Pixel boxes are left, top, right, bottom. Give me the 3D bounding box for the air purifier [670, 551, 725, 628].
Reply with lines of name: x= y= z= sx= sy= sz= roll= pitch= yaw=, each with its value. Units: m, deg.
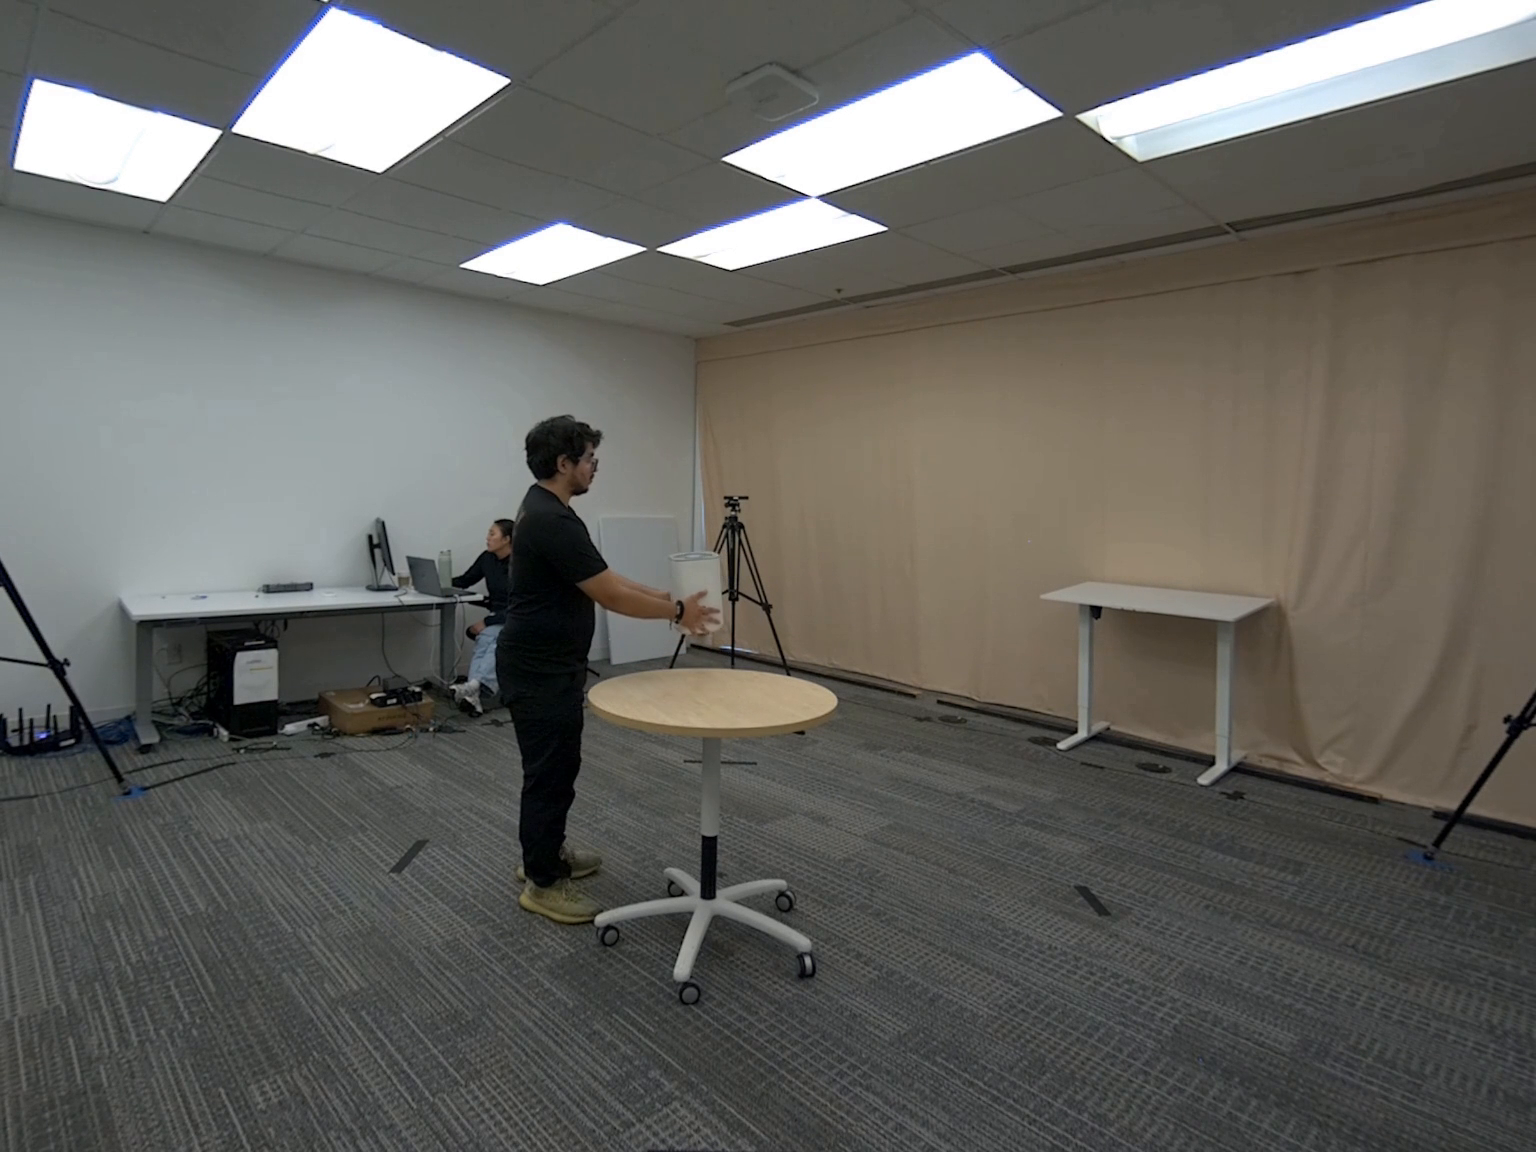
air purifier: x=-0.265 y=0.057 z=2.946 sx=0.170 sy=0.264 sz=0.174 roll=-6 pitch=8 yaw=-12
